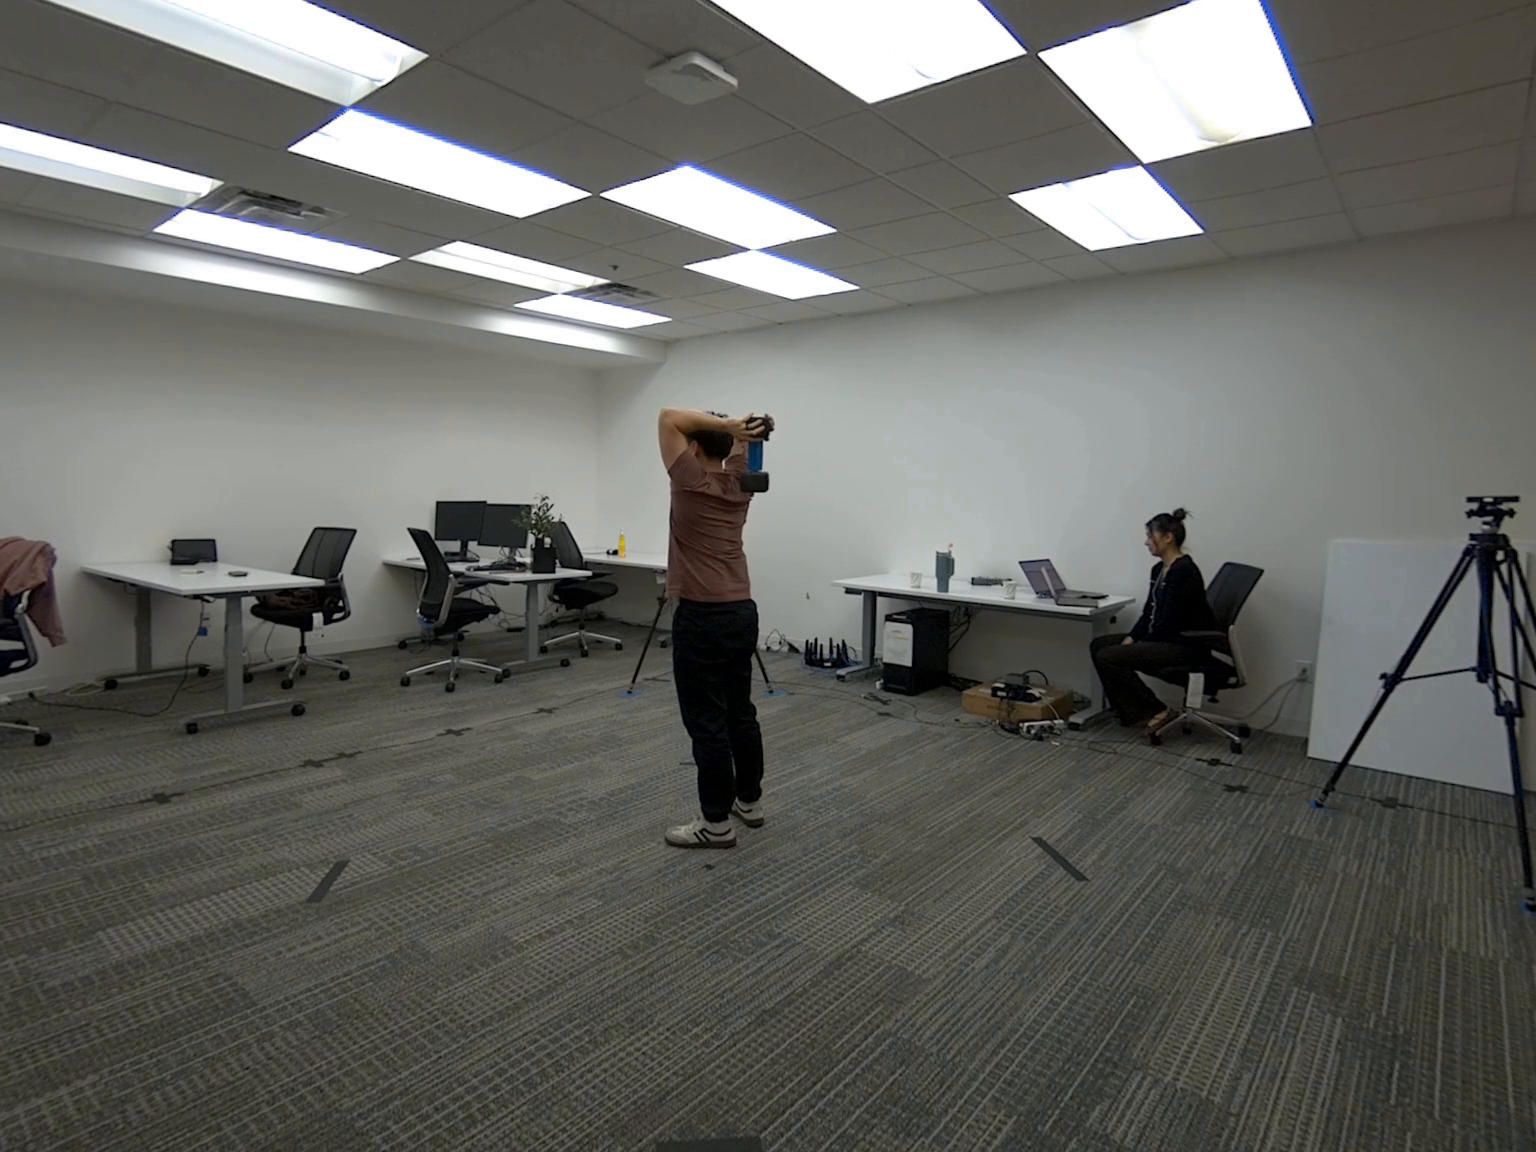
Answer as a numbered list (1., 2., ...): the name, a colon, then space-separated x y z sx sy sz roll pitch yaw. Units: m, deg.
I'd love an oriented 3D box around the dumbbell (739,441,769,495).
1. dumbbell: -0.067 -0.488 3.316 0.127 0.292 0.106 2 6 39
